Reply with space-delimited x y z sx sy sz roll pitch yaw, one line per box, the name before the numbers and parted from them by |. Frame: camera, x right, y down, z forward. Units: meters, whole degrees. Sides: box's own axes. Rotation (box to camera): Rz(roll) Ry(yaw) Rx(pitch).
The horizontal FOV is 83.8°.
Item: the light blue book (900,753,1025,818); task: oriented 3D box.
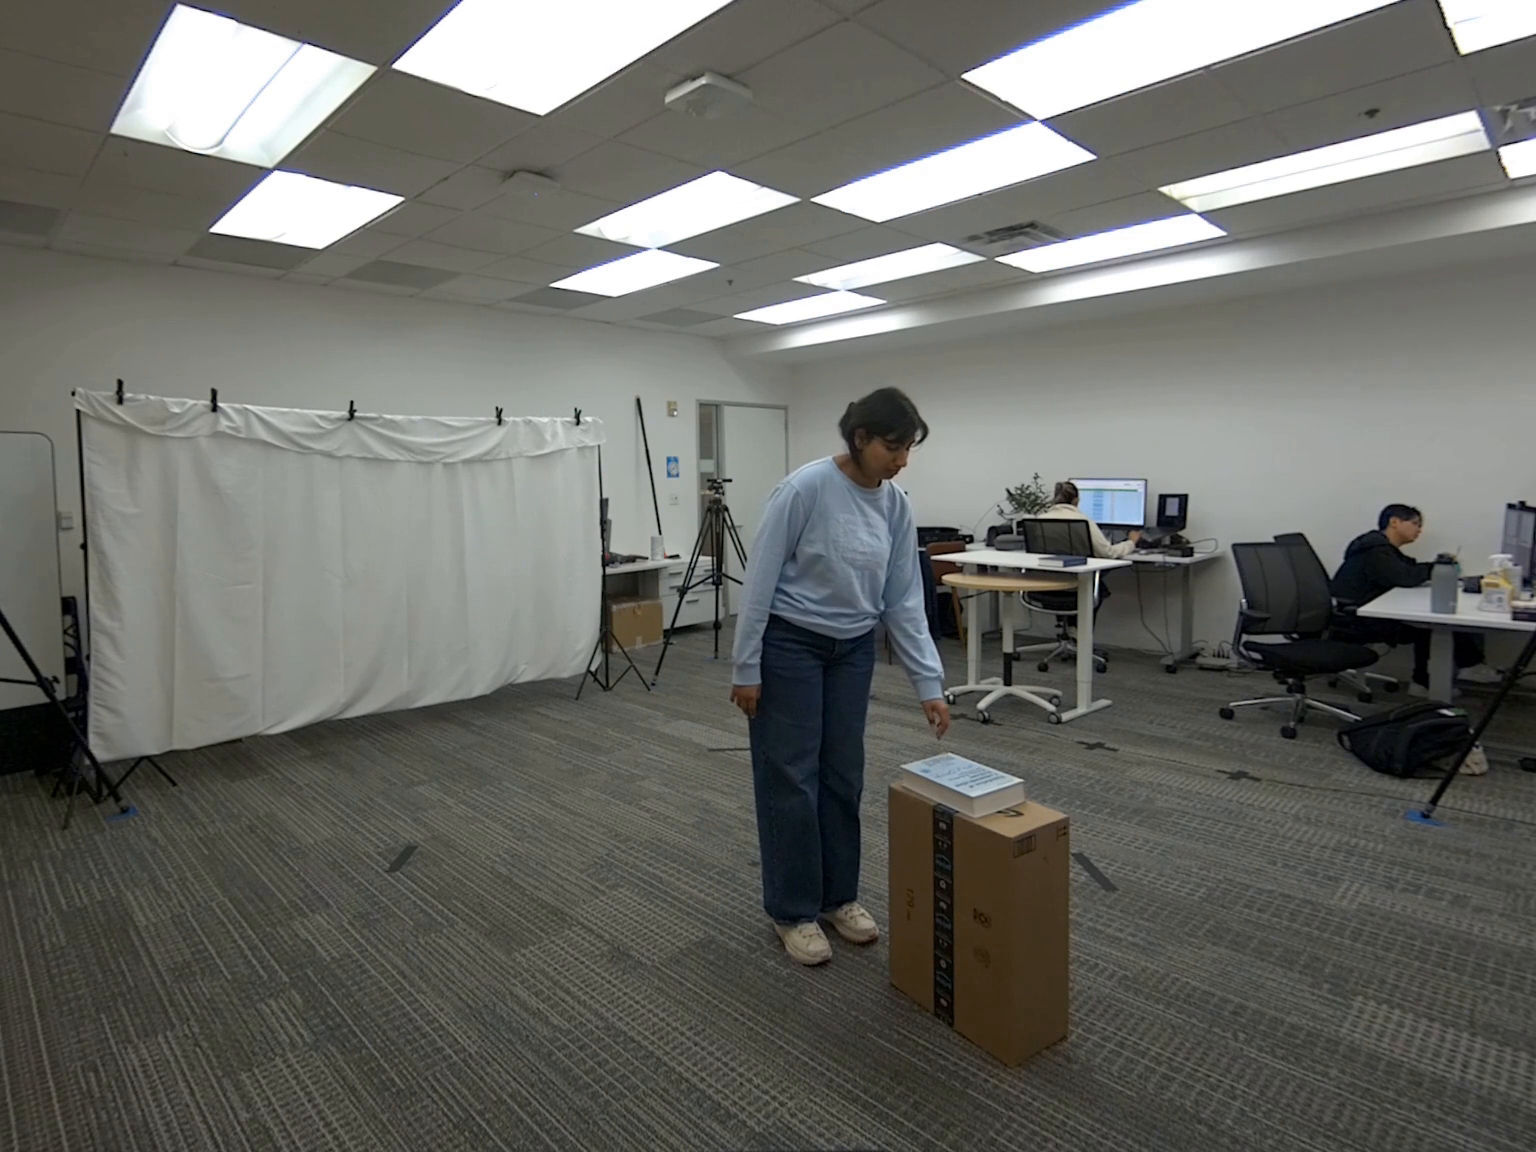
light blue book | 0.503 0.545 2.236 0.187 0.059 0.268 -7 8 -31
